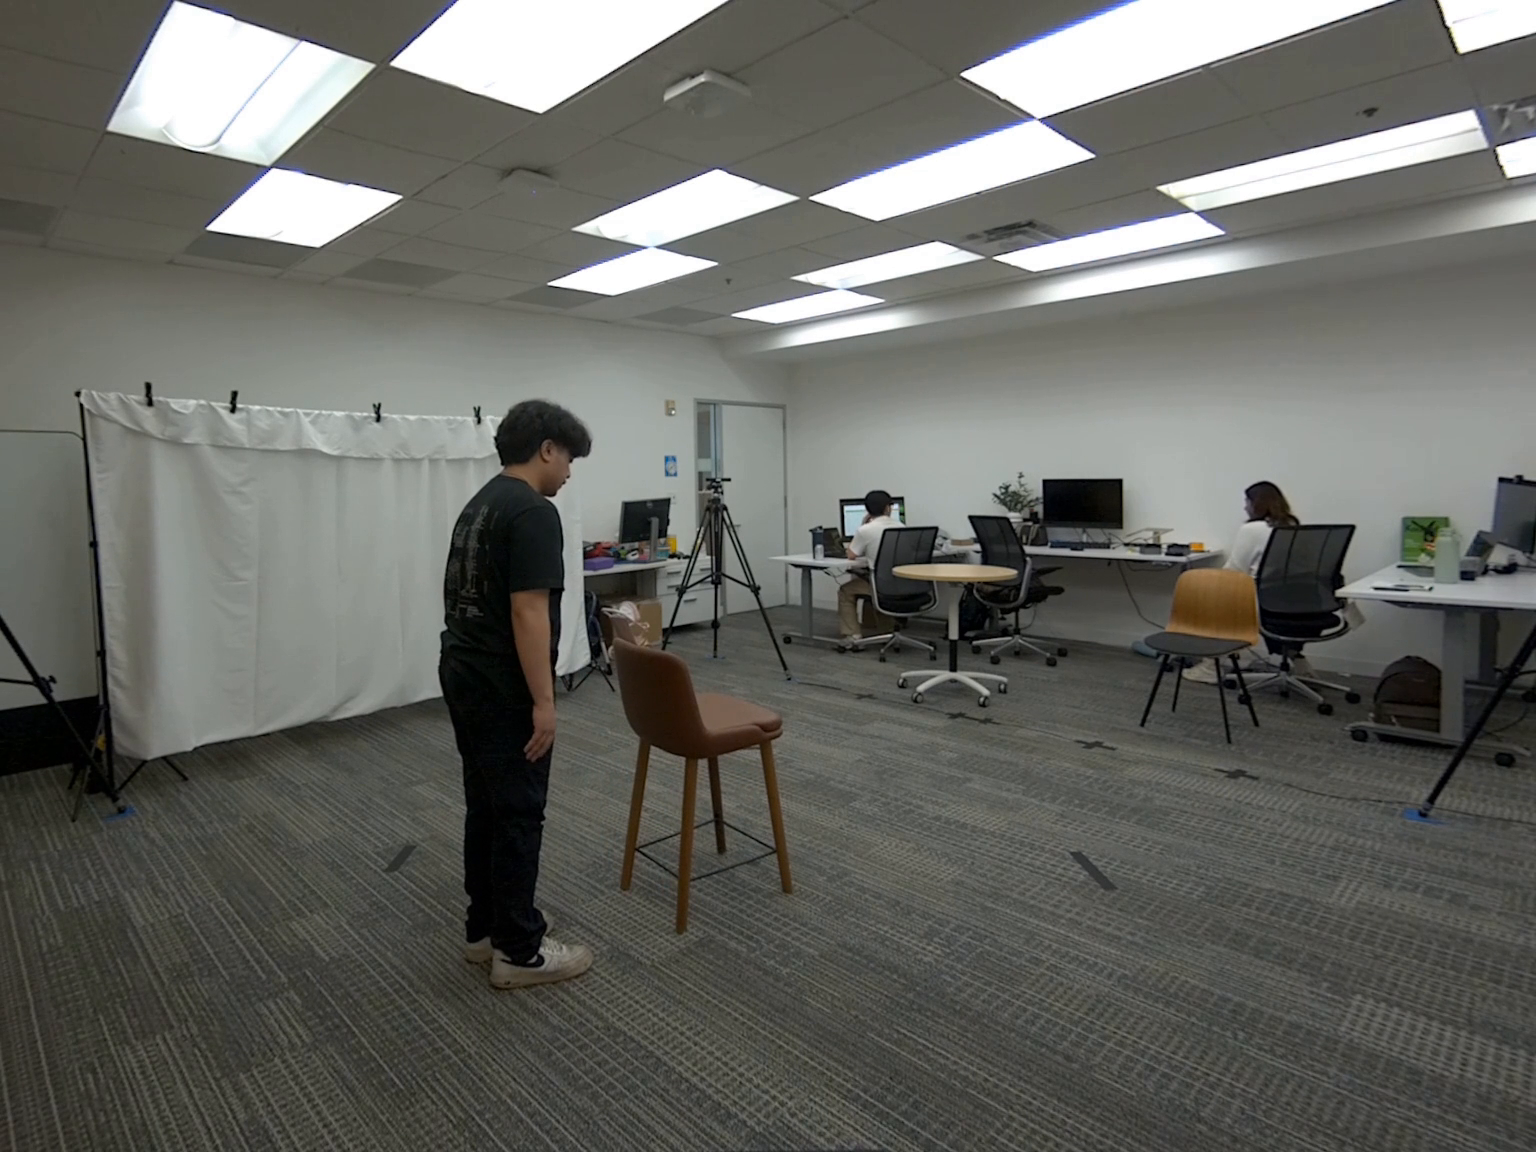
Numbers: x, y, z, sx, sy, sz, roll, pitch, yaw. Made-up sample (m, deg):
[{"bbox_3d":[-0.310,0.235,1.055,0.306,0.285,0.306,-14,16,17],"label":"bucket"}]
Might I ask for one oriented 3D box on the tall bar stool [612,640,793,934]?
[{"bbox_3d":[-0.229,0.637,2.878,0.456,0.885,0.470,-7,7,-37],"label":"tall bar stool"}]
